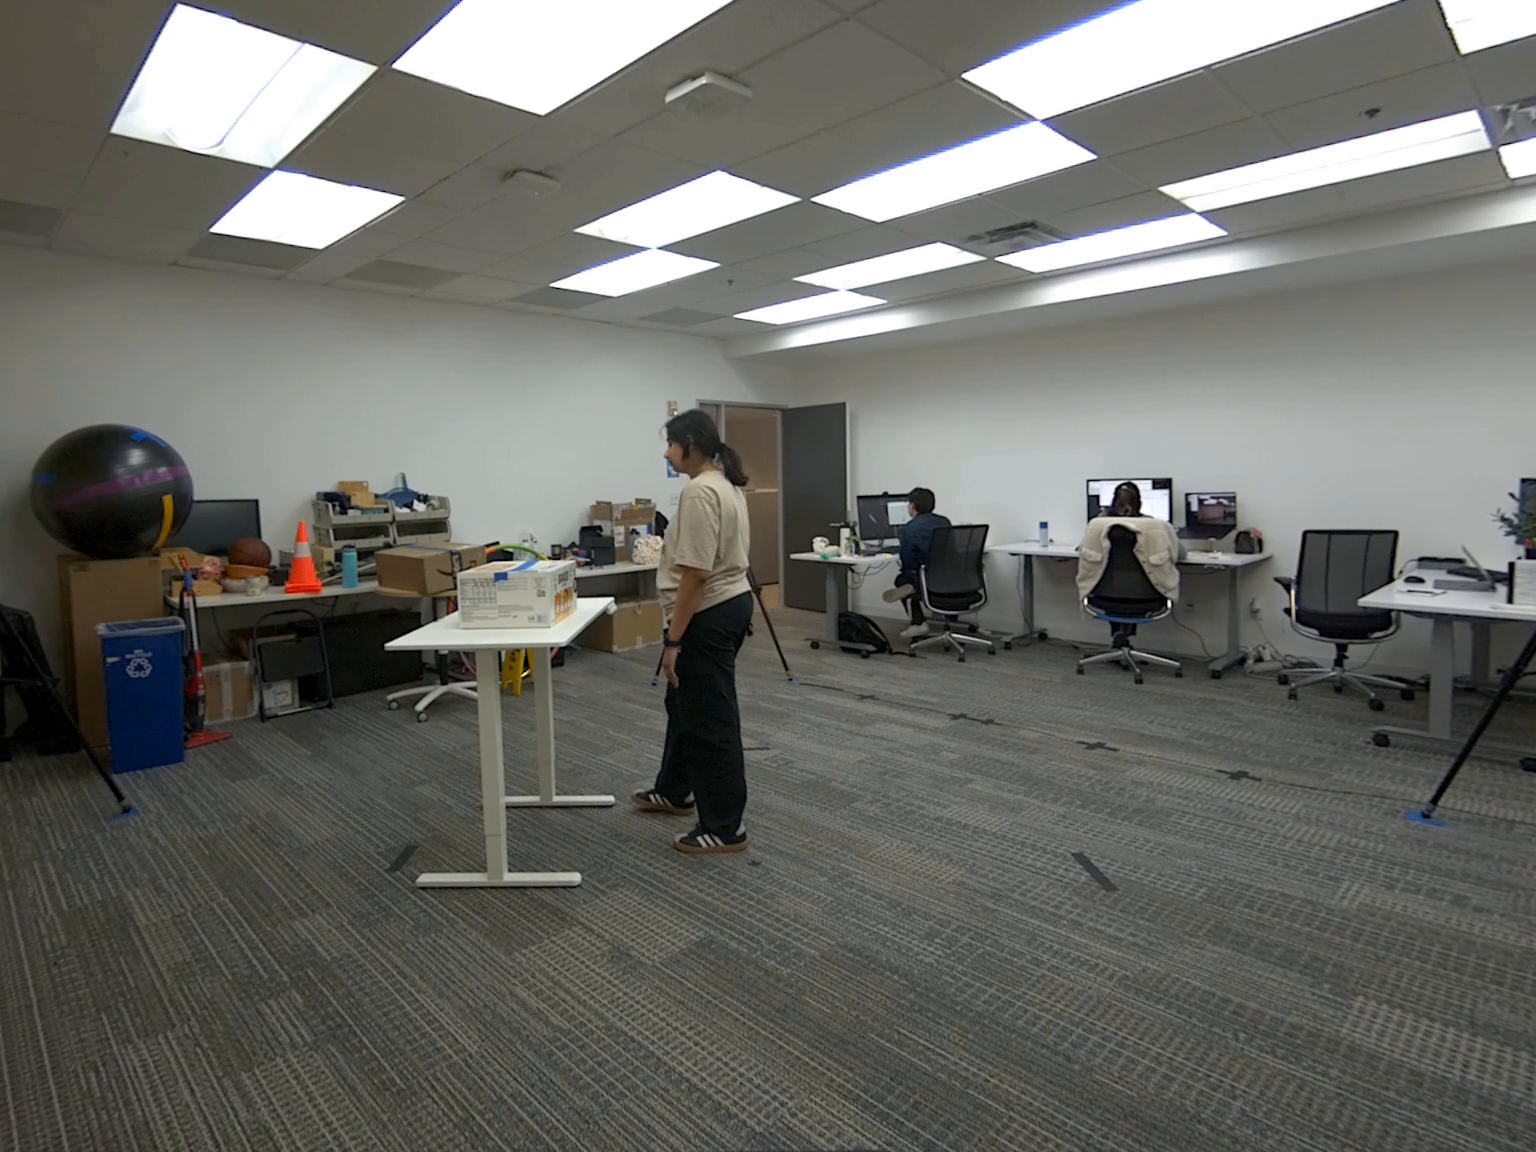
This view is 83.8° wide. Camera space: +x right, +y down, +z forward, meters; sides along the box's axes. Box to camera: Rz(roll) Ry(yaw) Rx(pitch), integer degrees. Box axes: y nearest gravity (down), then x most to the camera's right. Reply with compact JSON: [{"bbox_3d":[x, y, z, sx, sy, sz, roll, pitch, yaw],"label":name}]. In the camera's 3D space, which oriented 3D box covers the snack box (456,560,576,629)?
[{"bbox_3d":[-0.936,0.063,3.250,0.341,0.204,0.406,-2,7,2],"label":"snack box"}]
